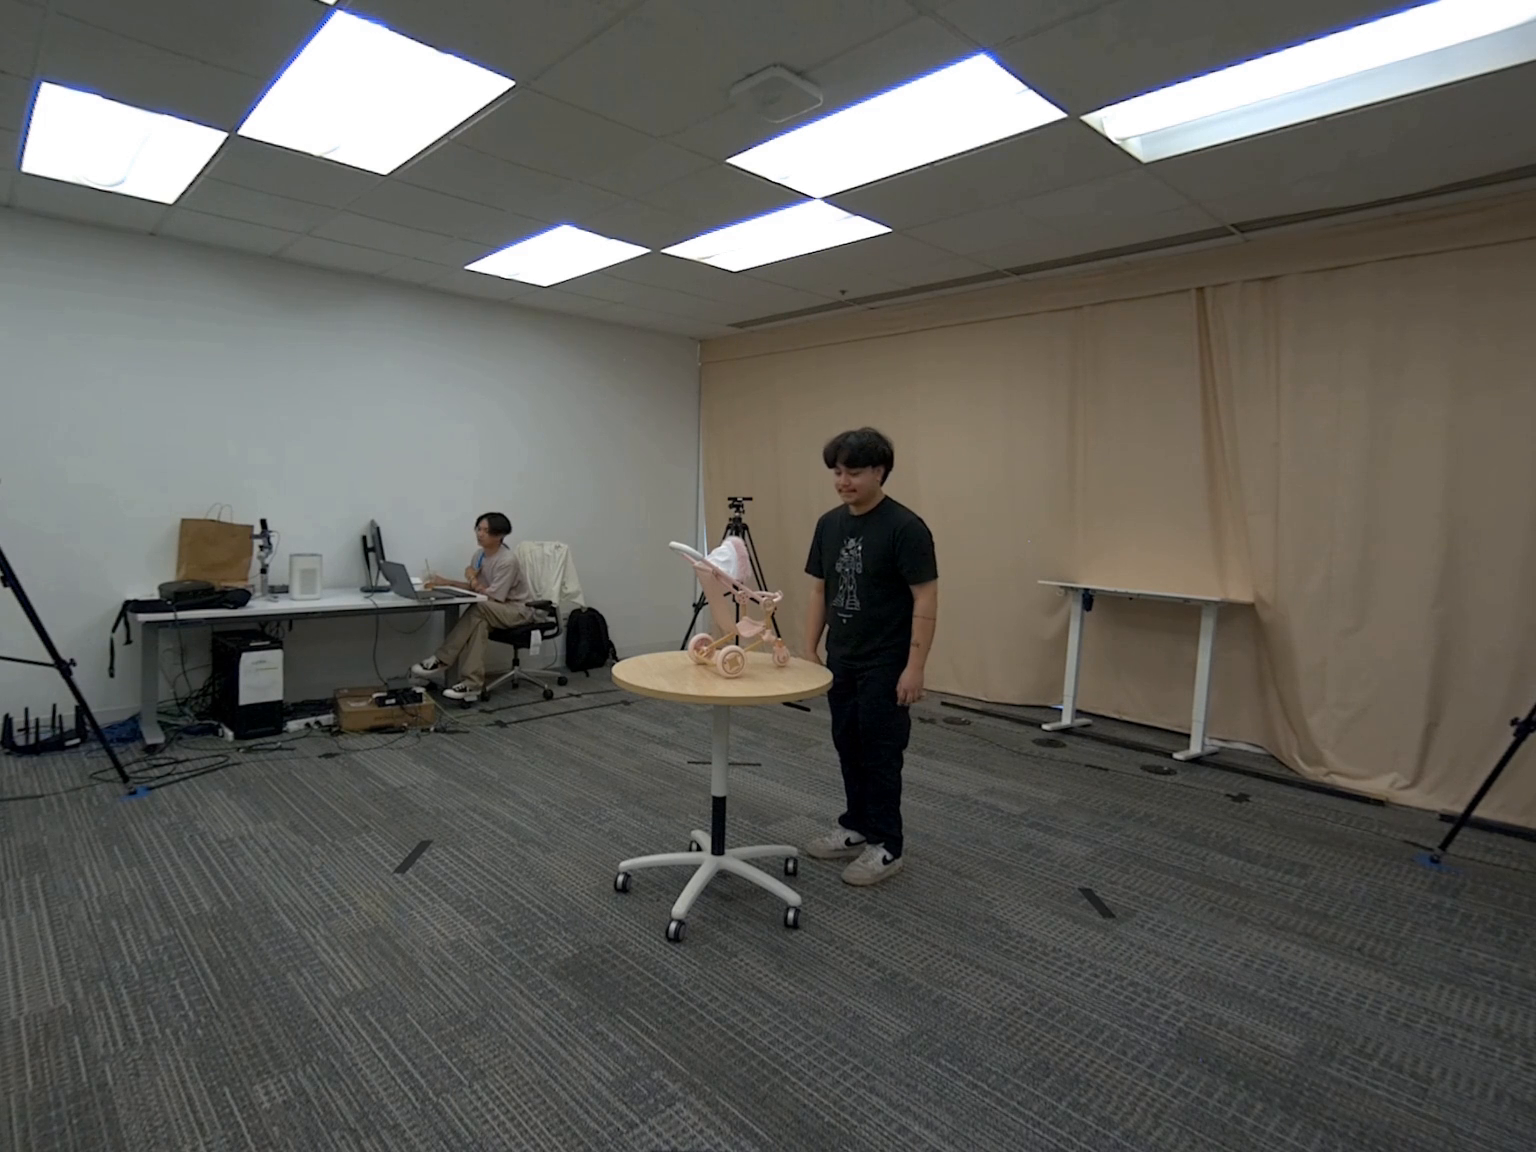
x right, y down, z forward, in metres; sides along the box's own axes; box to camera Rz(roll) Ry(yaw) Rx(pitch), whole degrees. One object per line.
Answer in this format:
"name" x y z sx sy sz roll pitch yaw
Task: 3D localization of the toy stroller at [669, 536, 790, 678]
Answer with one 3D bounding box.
"toy stroller" -0.115 0.102 2.932 0.338 0.531 0.287 -15 10 -19
